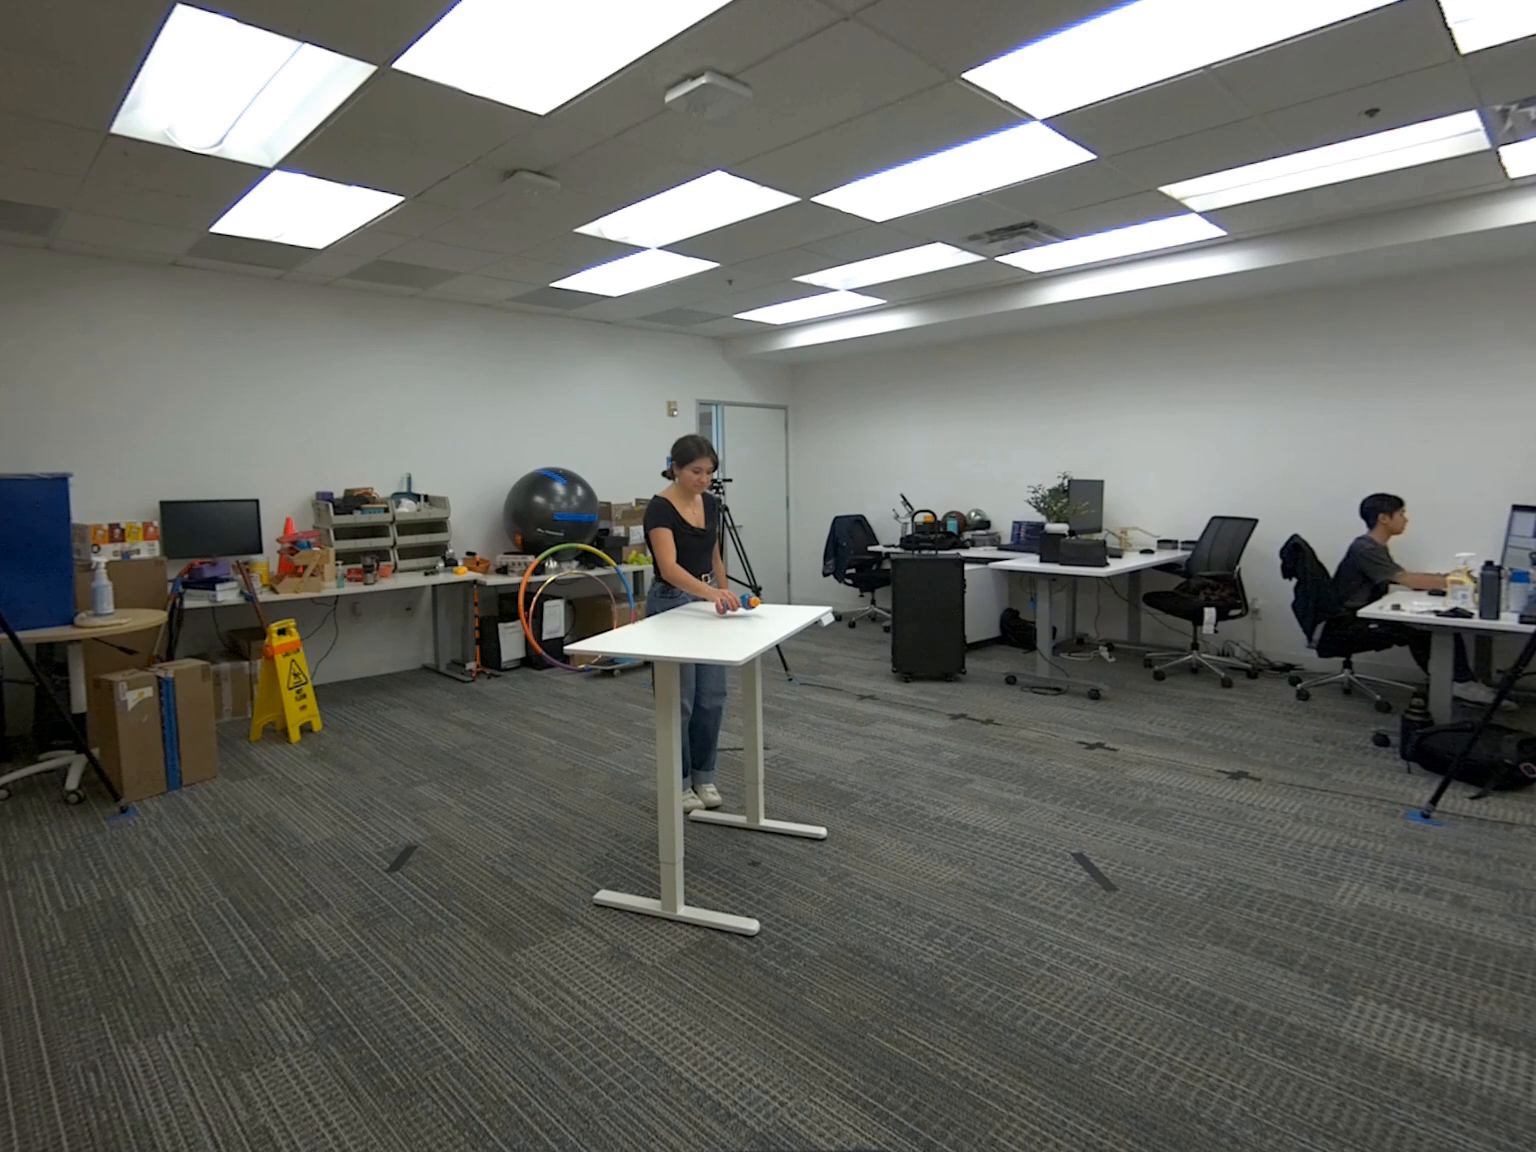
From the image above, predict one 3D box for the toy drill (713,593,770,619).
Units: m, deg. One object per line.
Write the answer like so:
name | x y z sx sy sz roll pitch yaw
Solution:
toy drill | -0.102 0.107 3.142 0.143 0.061 0.173 -9 4 -25
